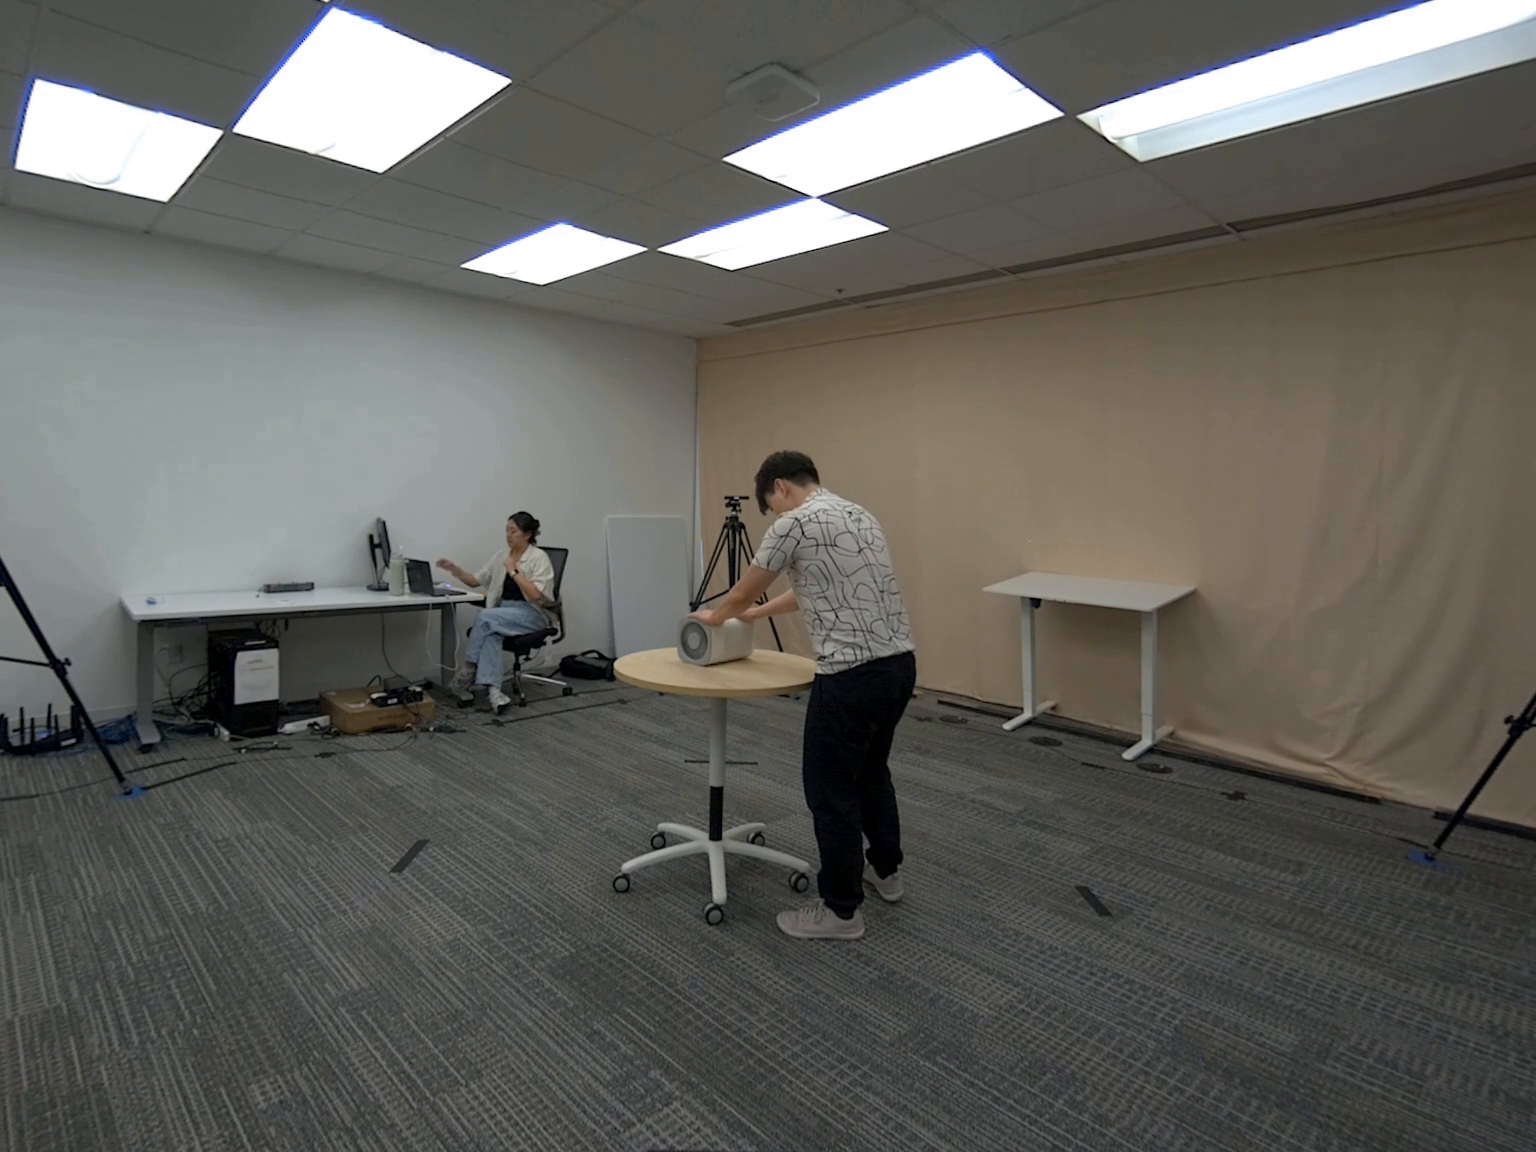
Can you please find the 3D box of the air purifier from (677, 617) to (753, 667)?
[{"bbox_3d":[-0.190,0.229,3.142,0.175,0.171,0.259,5,5,40],"label":"air purifier"}]
